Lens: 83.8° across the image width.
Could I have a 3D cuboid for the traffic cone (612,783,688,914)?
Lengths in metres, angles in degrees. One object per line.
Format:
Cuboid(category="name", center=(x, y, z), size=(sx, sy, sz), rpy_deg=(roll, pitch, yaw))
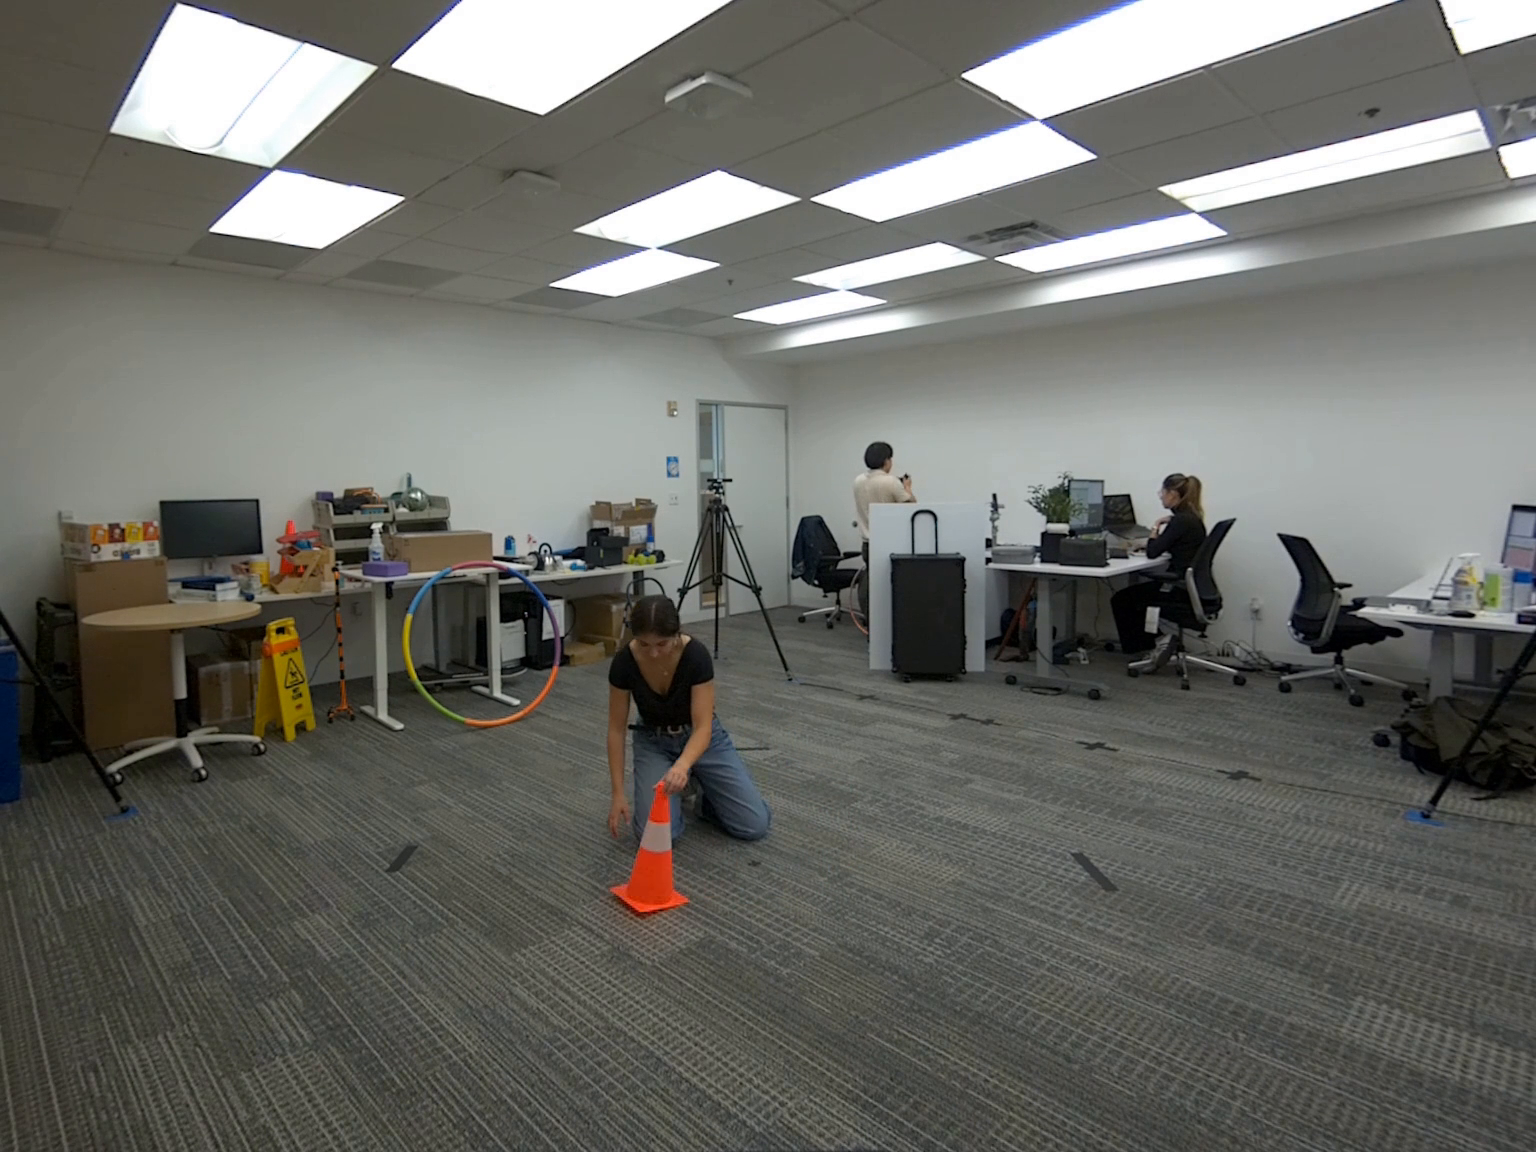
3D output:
Cuboid(category="traffic cone", center=(-0.368, 0.887, 2.868), size=(0.211, 0.384, 0.197), rpy_deg=(7, 0, 45))
